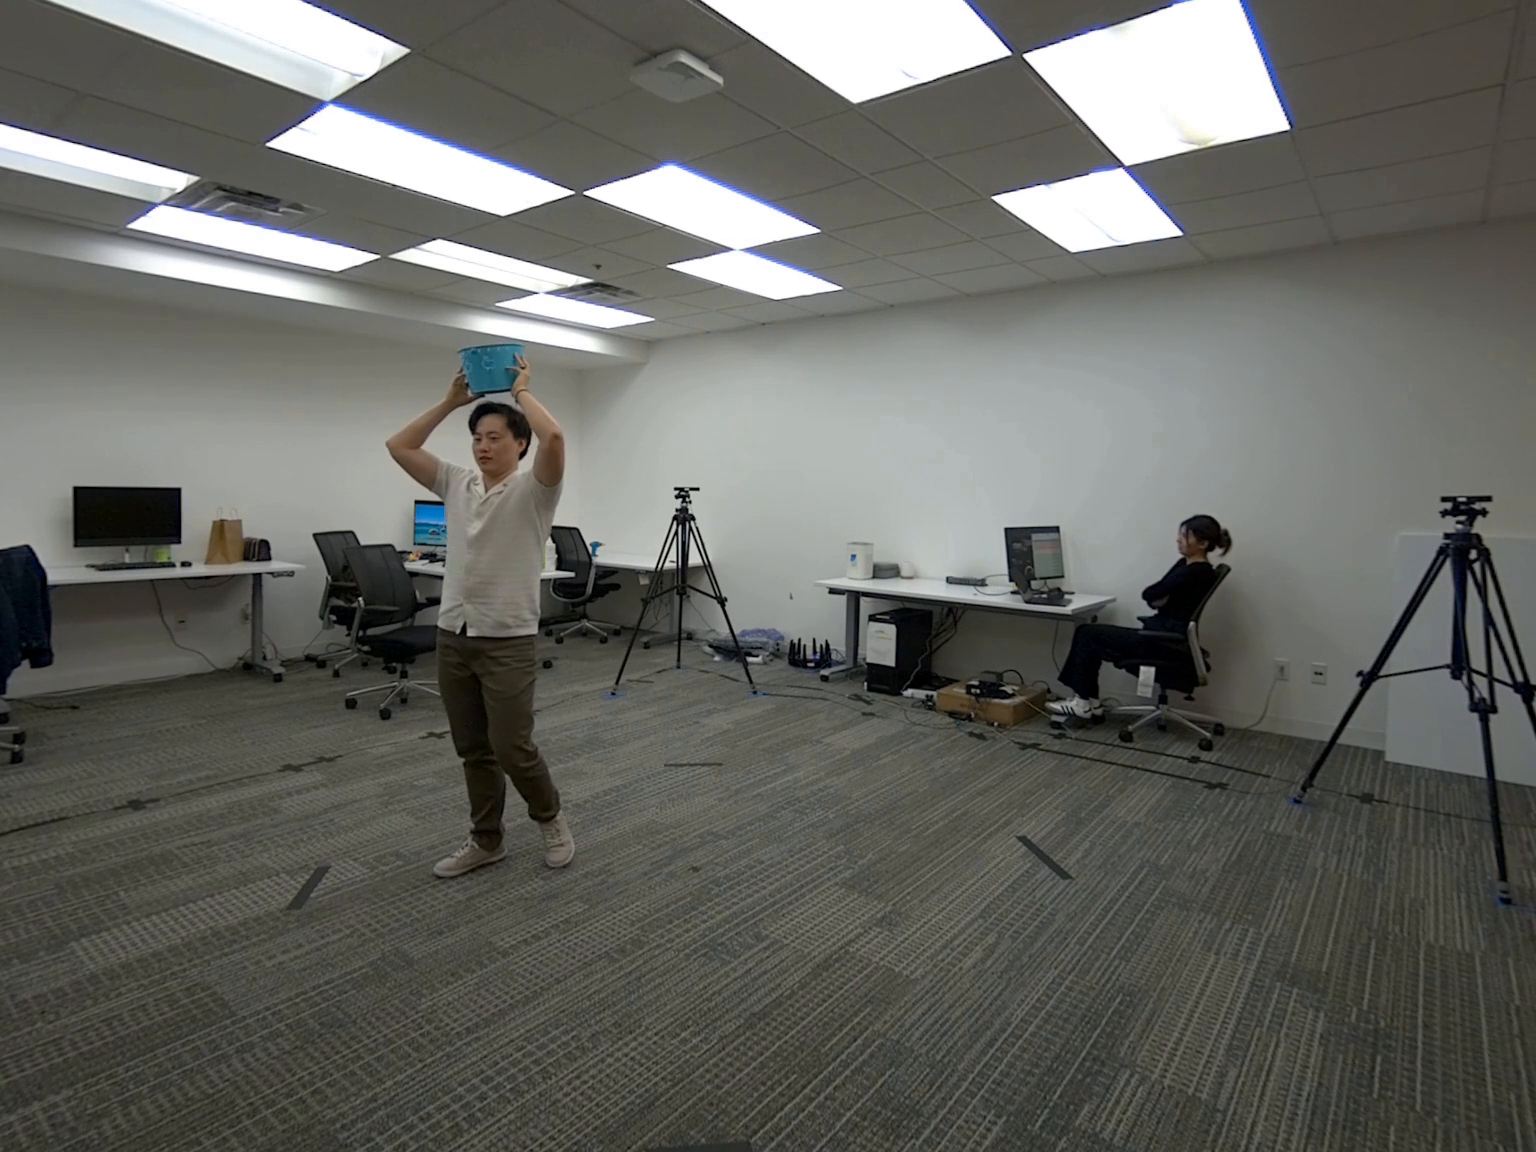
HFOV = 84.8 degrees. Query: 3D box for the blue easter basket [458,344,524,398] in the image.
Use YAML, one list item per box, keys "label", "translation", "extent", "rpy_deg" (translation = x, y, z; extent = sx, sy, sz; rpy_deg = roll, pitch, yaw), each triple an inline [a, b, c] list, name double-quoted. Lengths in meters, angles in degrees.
- label: "blue easter basket"
  translation: [-0.988, -0.737, 3.020]
  extent: [0.243, 0.154, 0.246]
  rpy_deg: [-8, 9, -1]
